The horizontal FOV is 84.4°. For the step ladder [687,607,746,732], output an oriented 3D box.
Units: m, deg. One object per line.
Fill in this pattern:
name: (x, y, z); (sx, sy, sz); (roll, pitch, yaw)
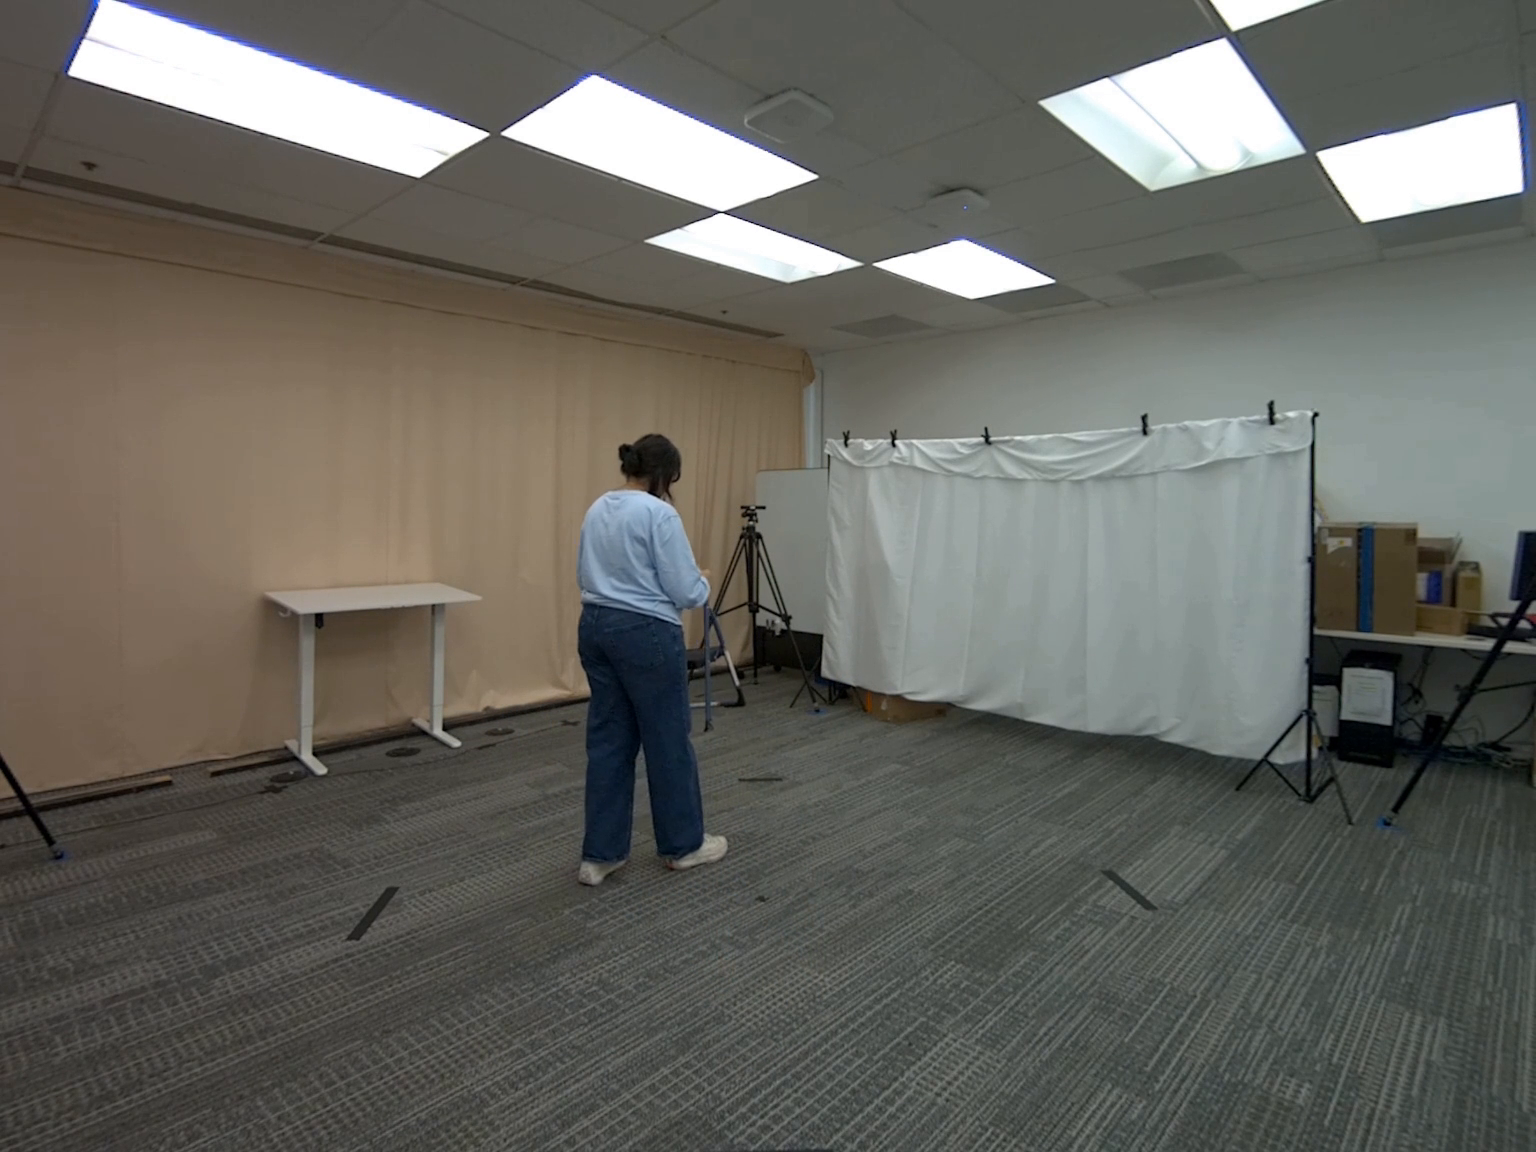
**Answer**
step ladder: (-0.388, 0.289, 3.407); (0.440, 0.604, 0.342); (-8, 4, 25)
